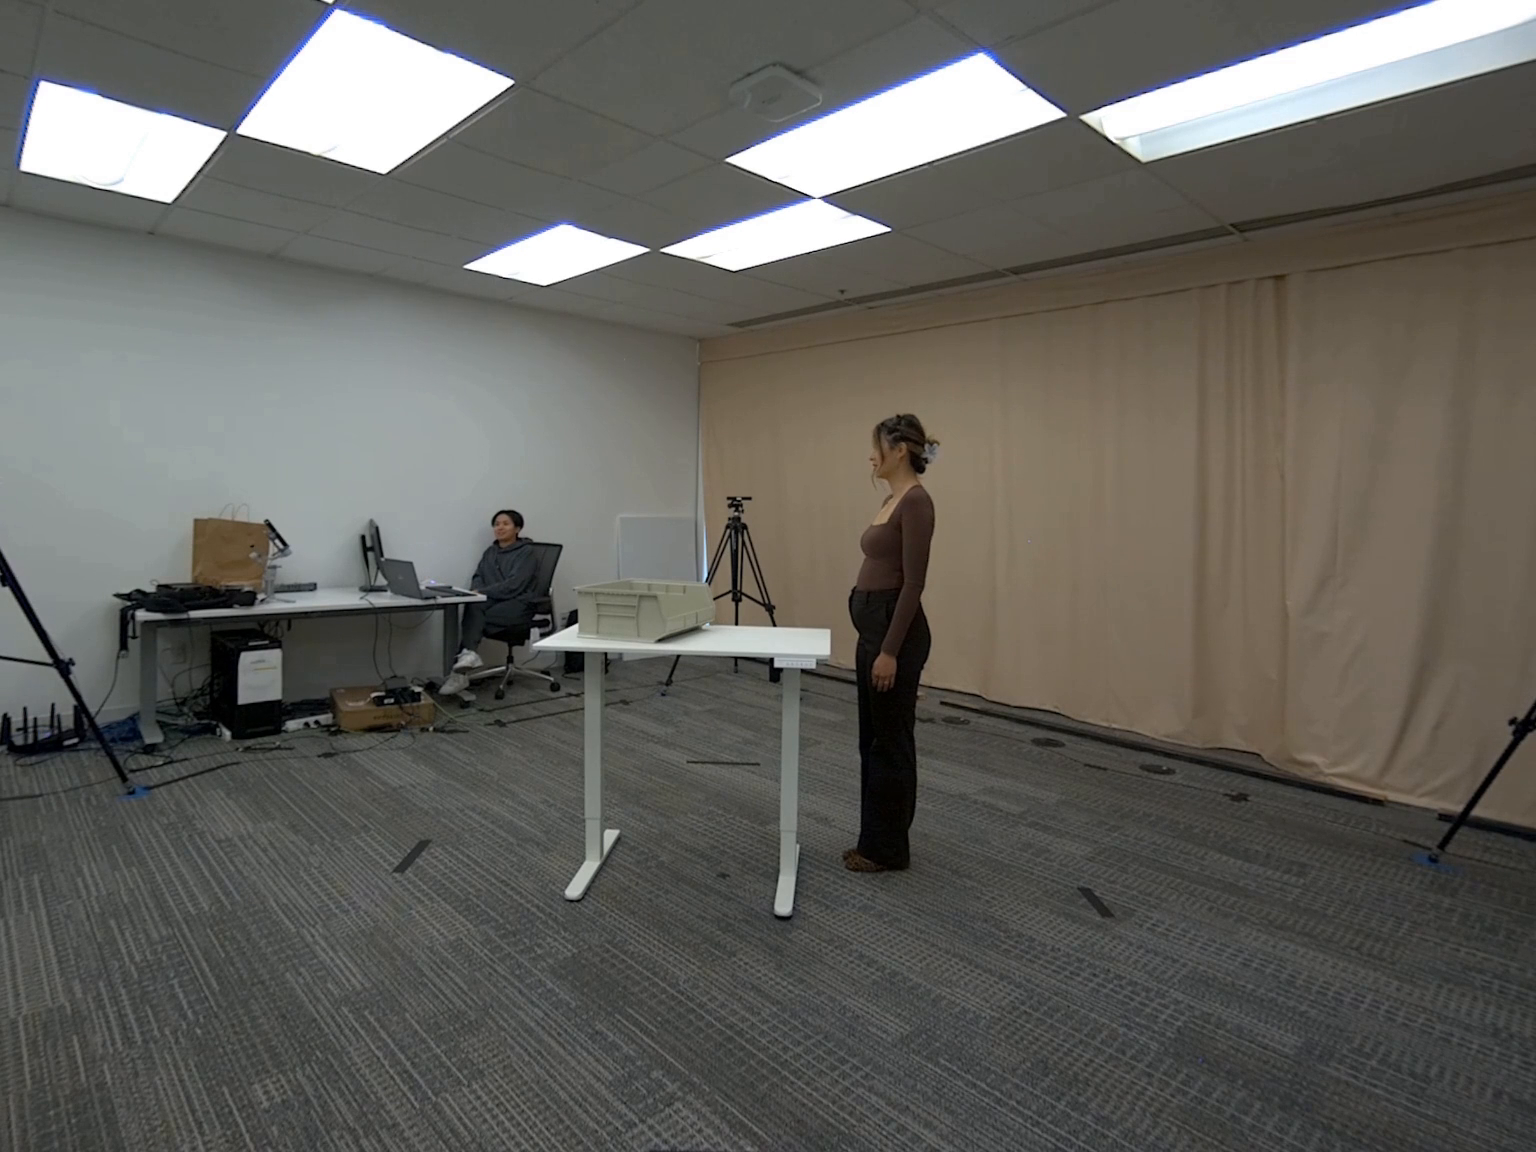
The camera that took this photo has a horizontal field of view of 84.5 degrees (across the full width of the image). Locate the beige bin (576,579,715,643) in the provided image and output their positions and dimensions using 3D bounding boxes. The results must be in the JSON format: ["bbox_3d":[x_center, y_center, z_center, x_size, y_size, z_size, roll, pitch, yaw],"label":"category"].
[{"bbox_3d":[-0.456,0.128,3.135,0.383,0.188,0.416,1,4,20],"label":"beige bin"}]
